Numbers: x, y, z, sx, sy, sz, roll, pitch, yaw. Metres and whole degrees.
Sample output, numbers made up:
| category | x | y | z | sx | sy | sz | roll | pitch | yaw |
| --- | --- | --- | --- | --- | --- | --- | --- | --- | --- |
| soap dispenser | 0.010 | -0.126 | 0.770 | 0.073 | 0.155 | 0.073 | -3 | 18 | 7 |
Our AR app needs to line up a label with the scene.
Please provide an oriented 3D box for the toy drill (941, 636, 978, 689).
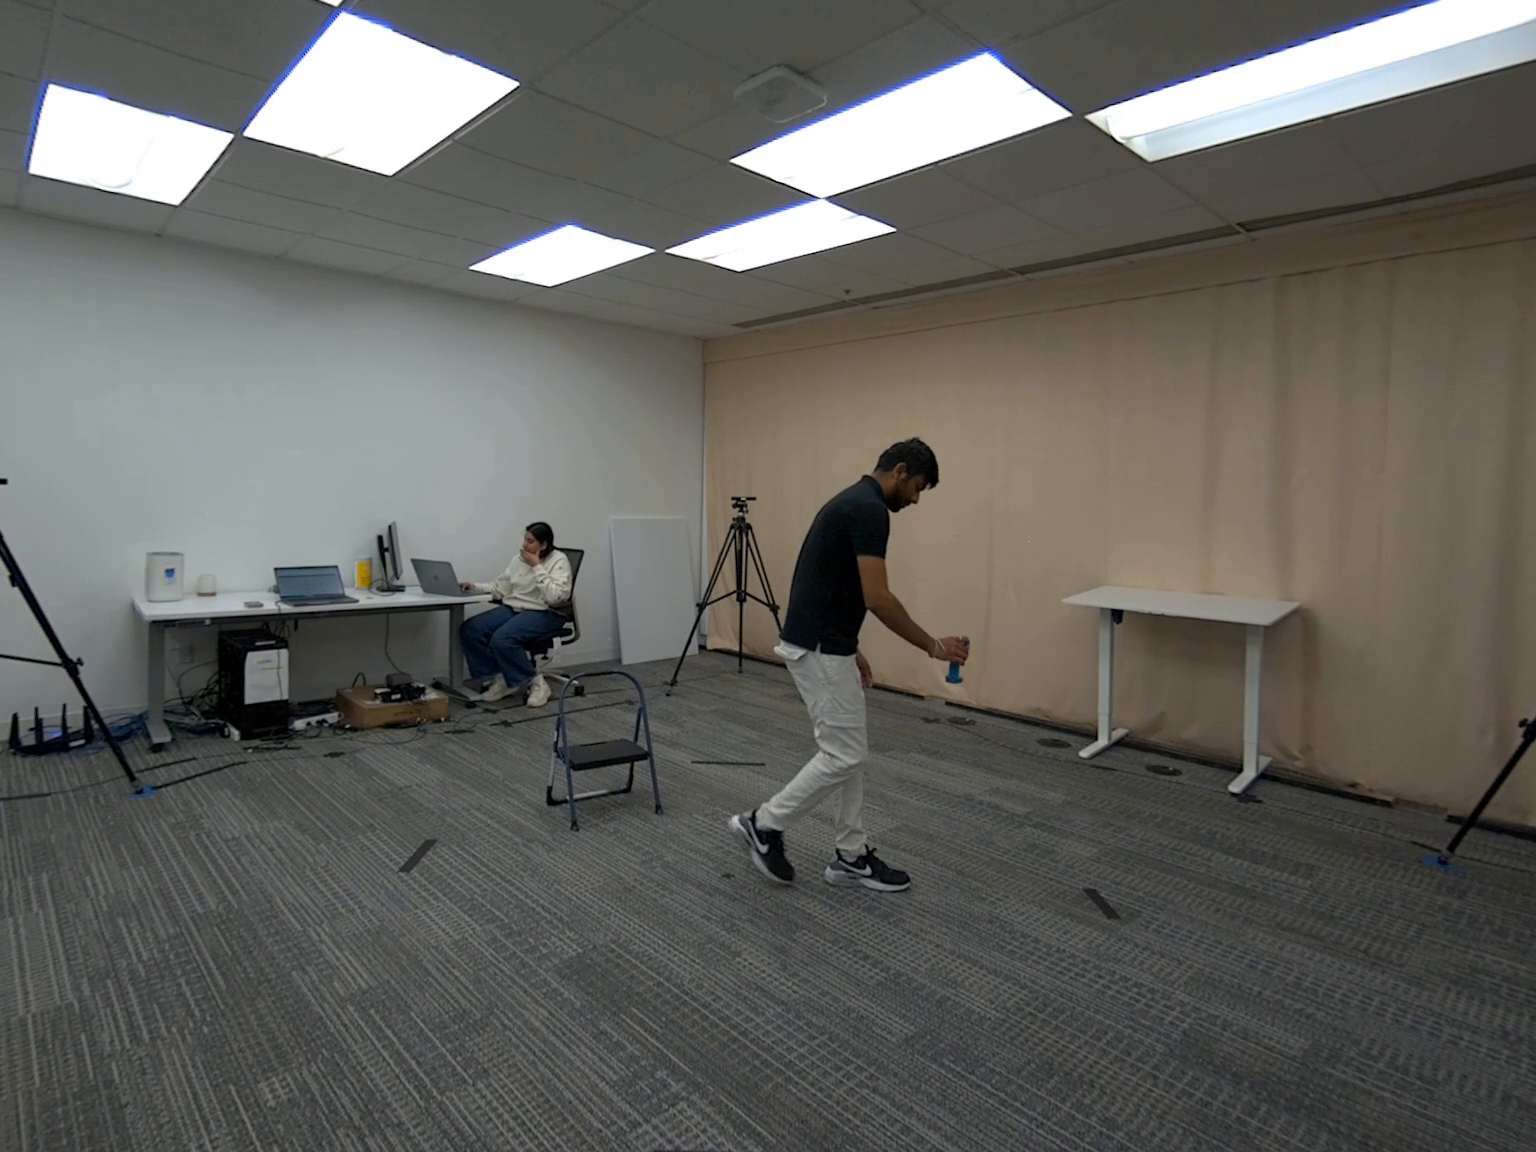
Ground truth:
| category | x | y | z | sx | sy | sz | roll | pitch | yaw |
| --- | --- | --- | --- | --- | --- | --- | --- | --- | --- |
| toy drill | 0.671 | 0.298 | 2.968 | 0.062 | 0.145 | 0.166 | 6 | 8 | 32 |
